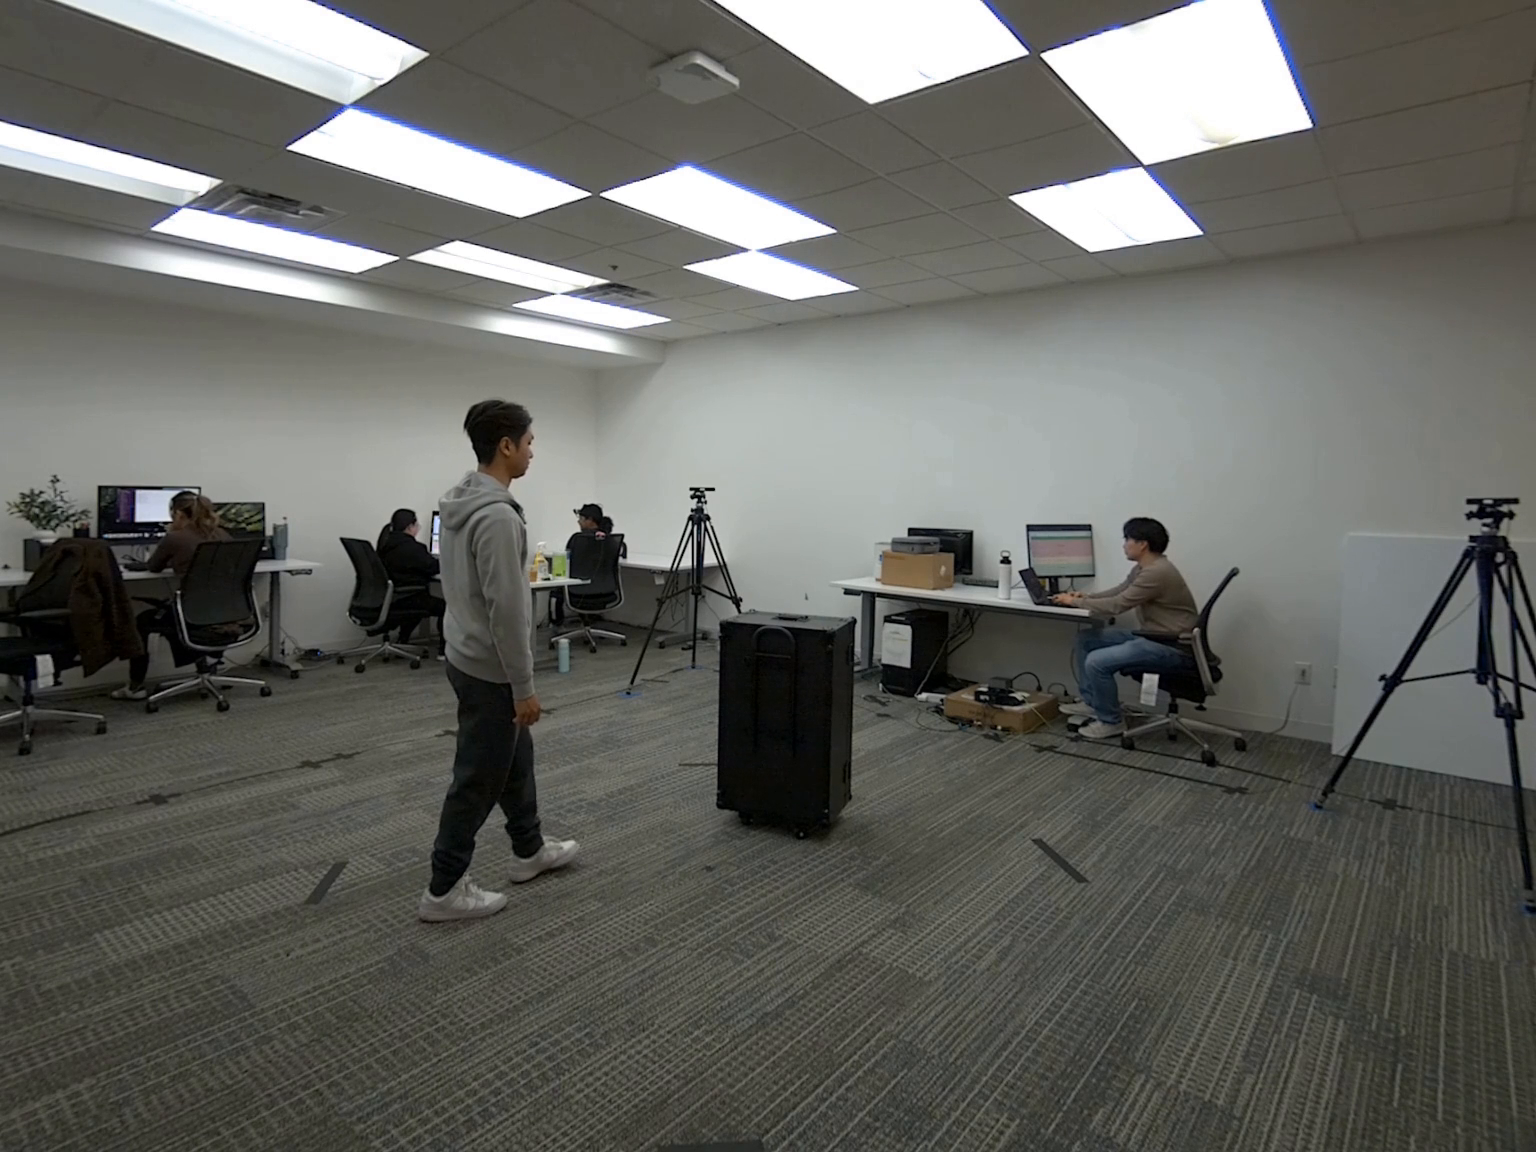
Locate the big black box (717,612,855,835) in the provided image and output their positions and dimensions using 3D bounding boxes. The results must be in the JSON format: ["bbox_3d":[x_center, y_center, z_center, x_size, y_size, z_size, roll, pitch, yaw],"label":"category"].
[{"bbox_3d":[0.072,0.604,3.555,0.534,0.858,0.388,3,4,22],"label":"big black box"}]
